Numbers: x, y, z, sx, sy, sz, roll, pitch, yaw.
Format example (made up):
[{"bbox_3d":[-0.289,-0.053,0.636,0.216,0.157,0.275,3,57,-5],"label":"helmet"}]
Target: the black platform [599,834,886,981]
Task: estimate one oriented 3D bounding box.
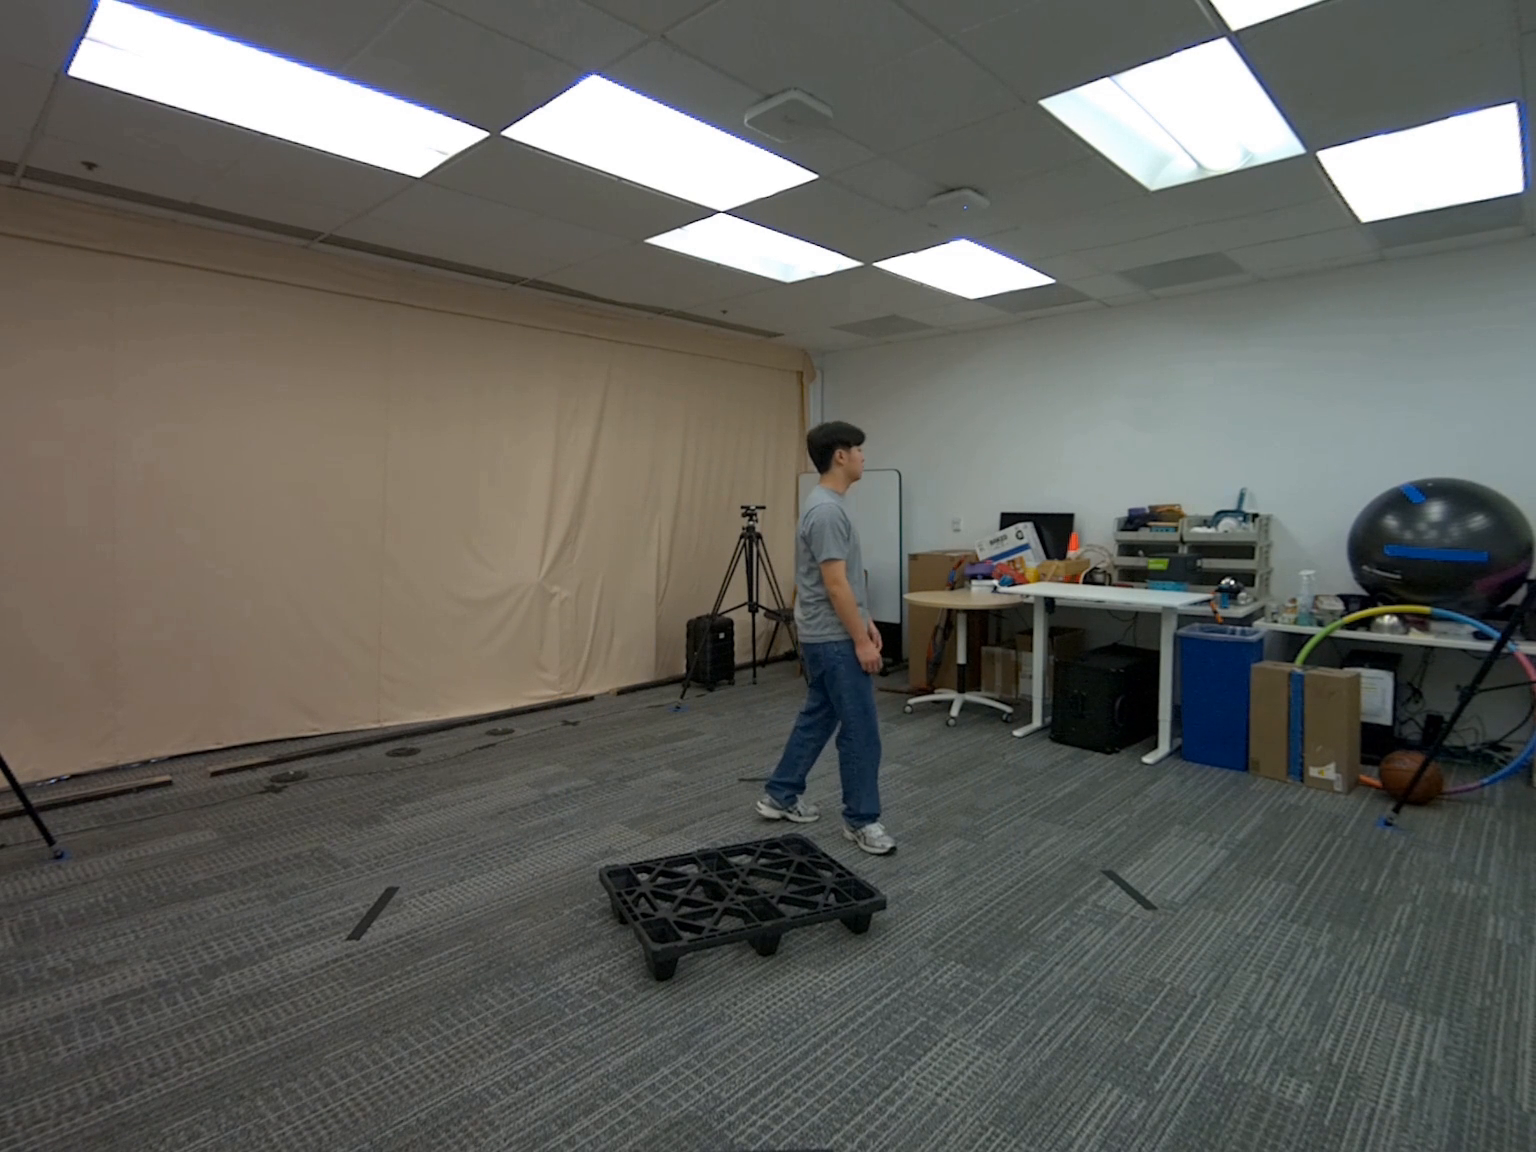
[{"bbox_3d":[-0.107,1.091,2.815,0.787,0.143,0.620,-2,4,-24],"label":"black platform"}]
